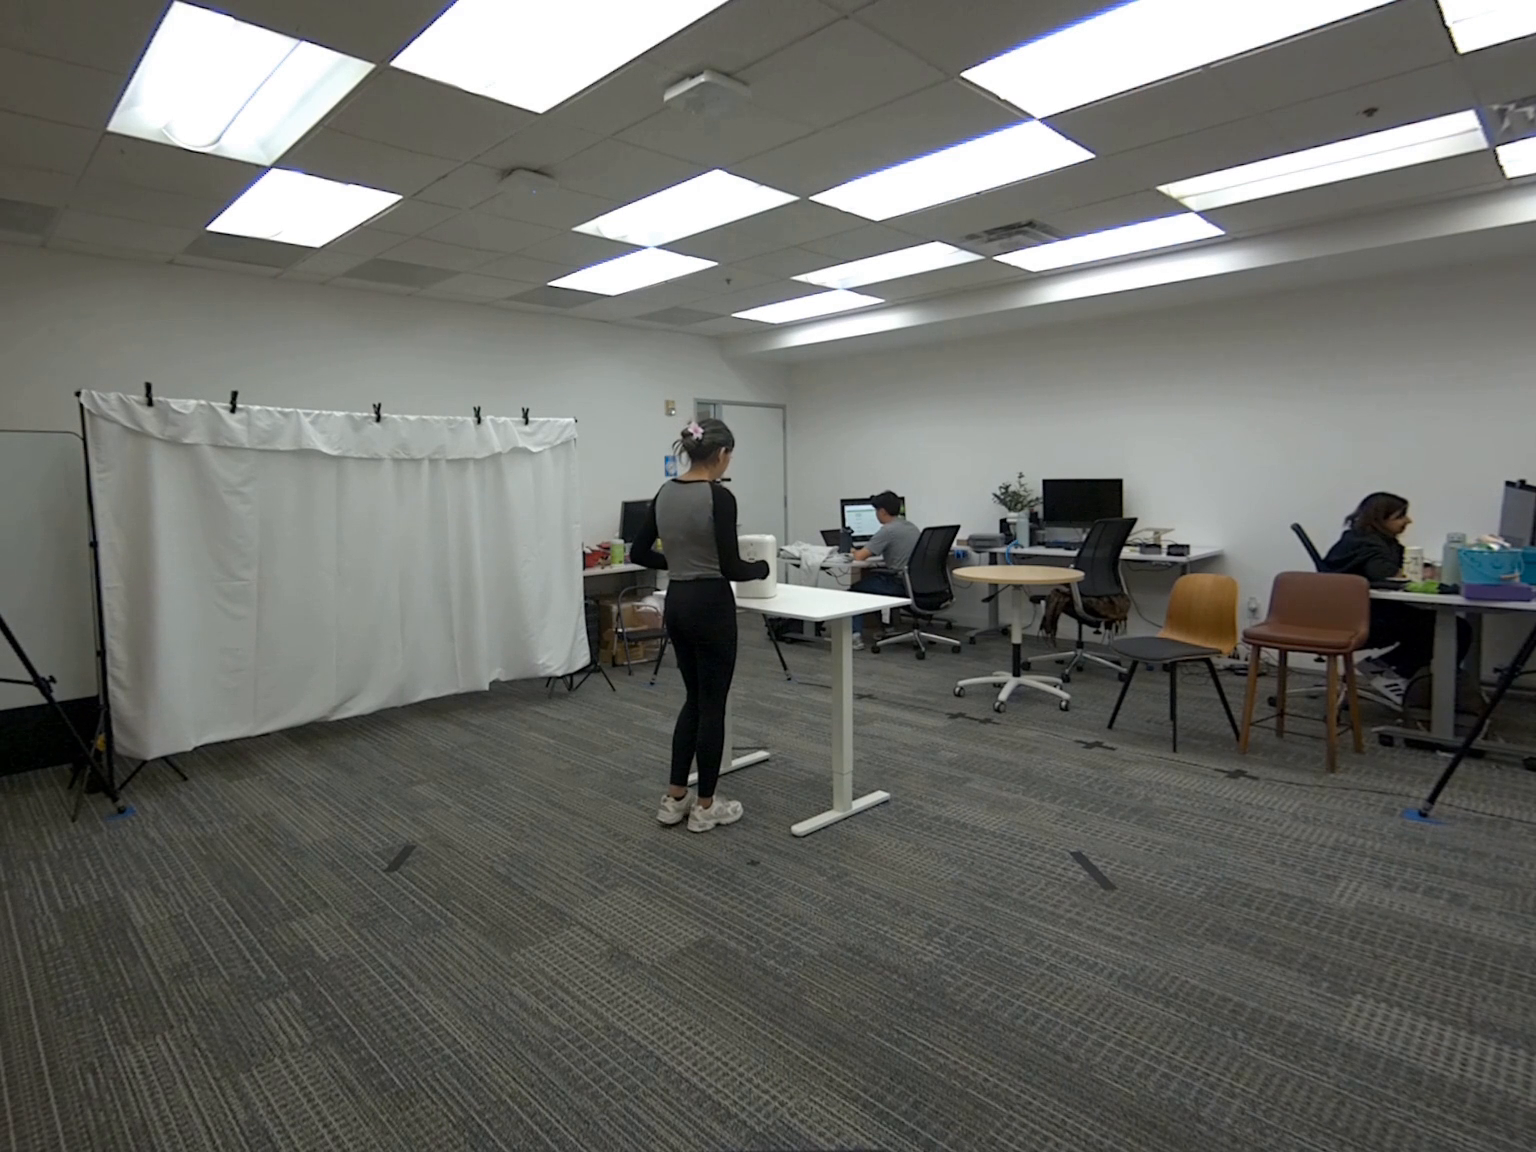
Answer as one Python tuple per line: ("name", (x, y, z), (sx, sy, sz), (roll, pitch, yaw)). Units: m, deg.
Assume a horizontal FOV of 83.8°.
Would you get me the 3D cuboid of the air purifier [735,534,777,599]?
("air purifier", (-0.052, -0.046, 3.749), (0.173, 0.264, 0.170), (0, 6, 14))
